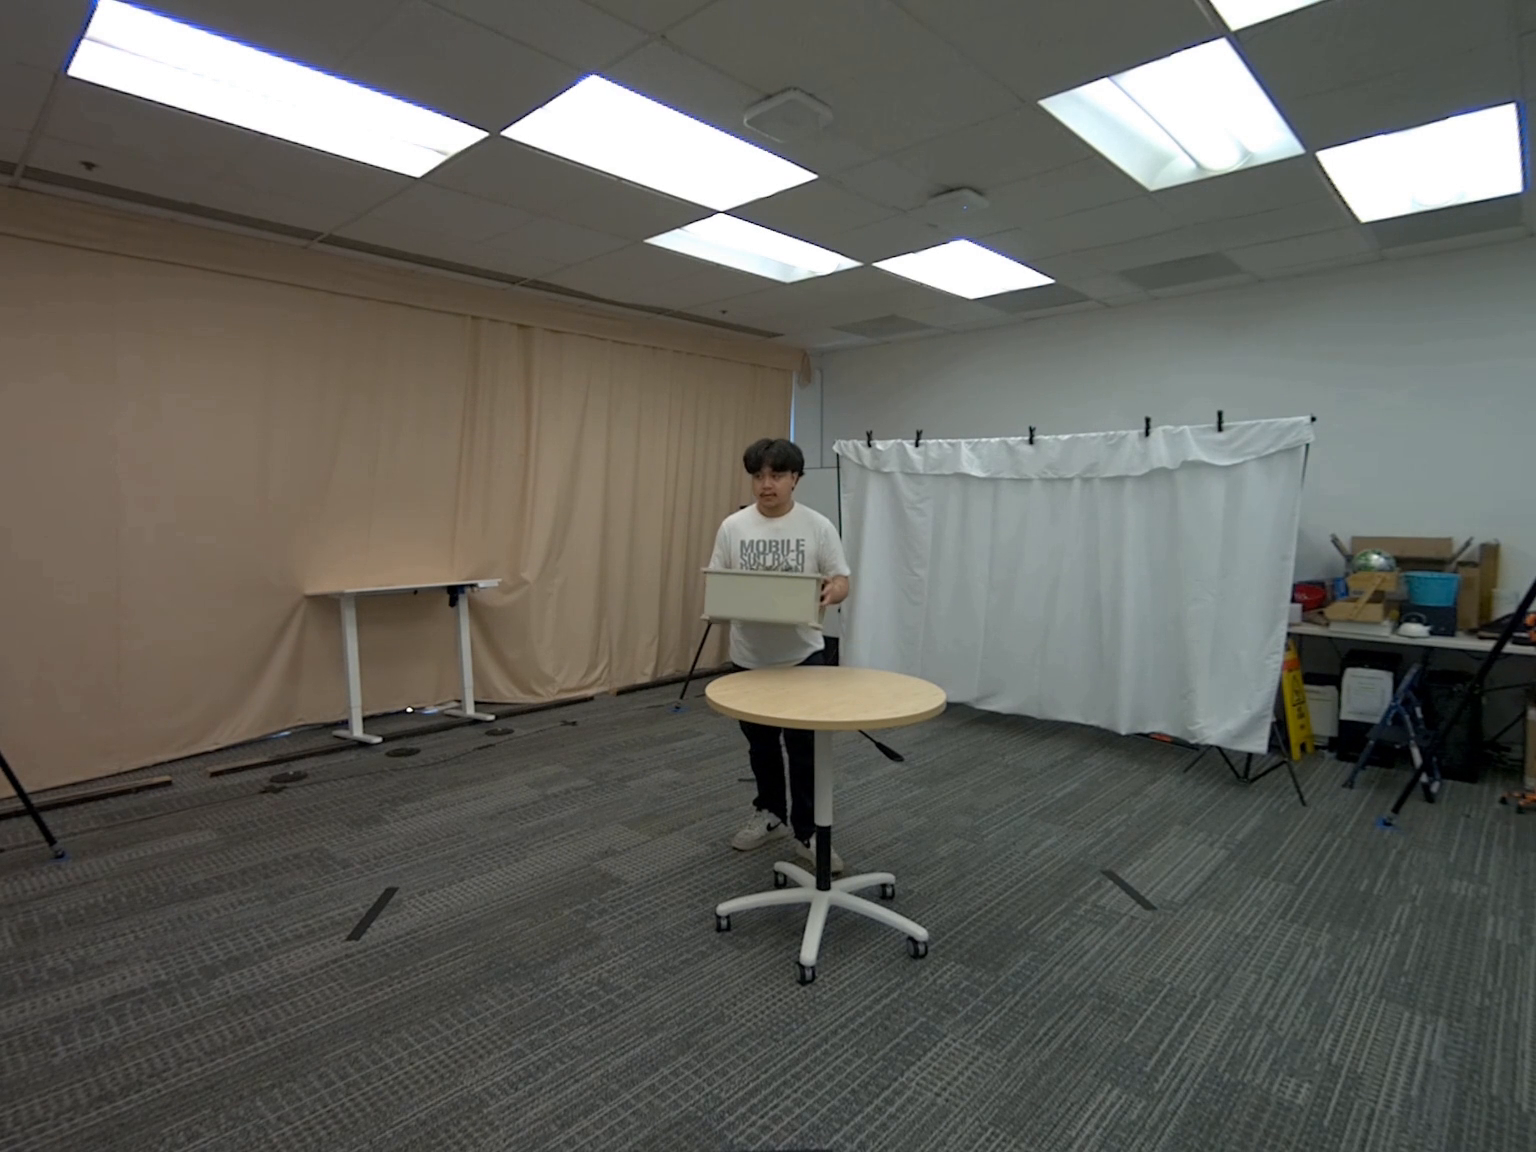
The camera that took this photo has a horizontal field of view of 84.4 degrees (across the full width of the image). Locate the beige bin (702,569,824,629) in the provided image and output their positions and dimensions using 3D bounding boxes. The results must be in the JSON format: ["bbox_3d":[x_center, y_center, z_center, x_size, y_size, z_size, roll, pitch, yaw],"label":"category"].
[{"bbox_3d":[-0.004,0.093,3.084,0.428,0.189,0.371,4,-4,11],"label":"beige bin"}]
